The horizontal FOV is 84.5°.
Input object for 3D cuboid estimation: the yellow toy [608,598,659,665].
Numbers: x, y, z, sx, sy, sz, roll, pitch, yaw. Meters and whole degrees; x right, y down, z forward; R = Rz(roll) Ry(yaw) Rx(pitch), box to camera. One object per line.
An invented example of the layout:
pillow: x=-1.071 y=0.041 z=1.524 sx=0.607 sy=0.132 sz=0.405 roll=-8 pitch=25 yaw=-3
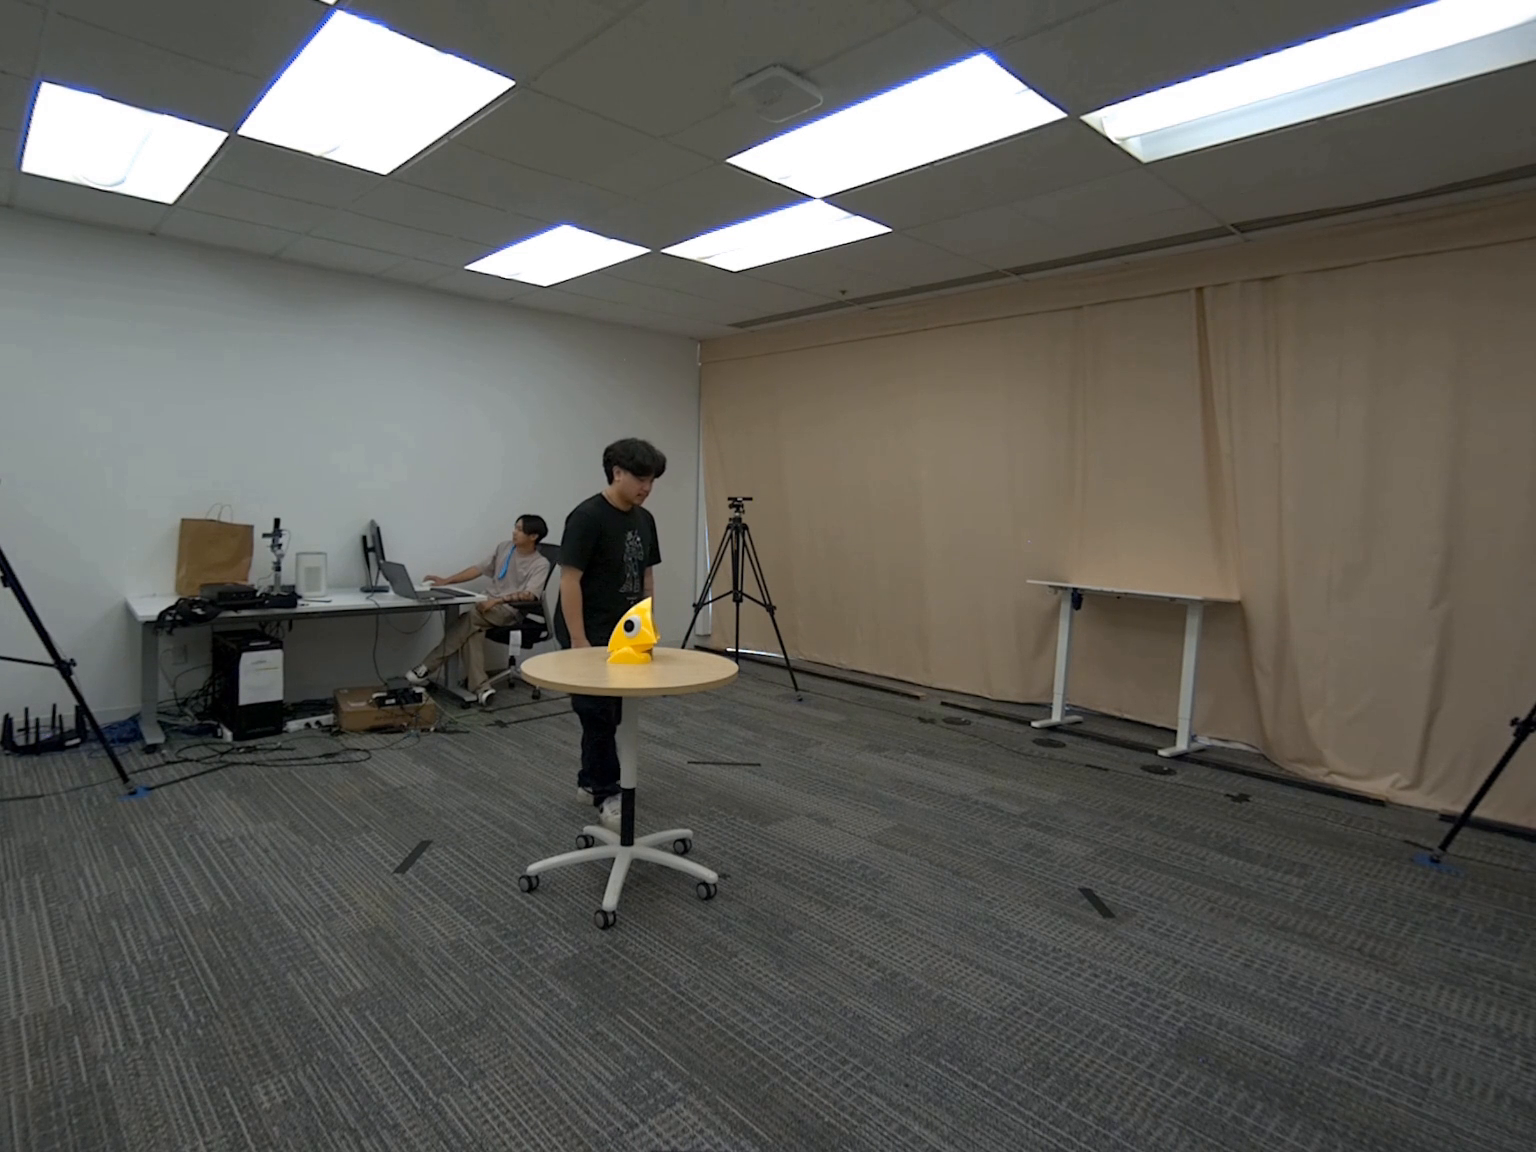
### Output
yellow toy: x=-0.502 y=0.194 z=3.097 sx=0.192 sy=0.230 sz=0.206 roll=2 pitch=4 yaw=-4
